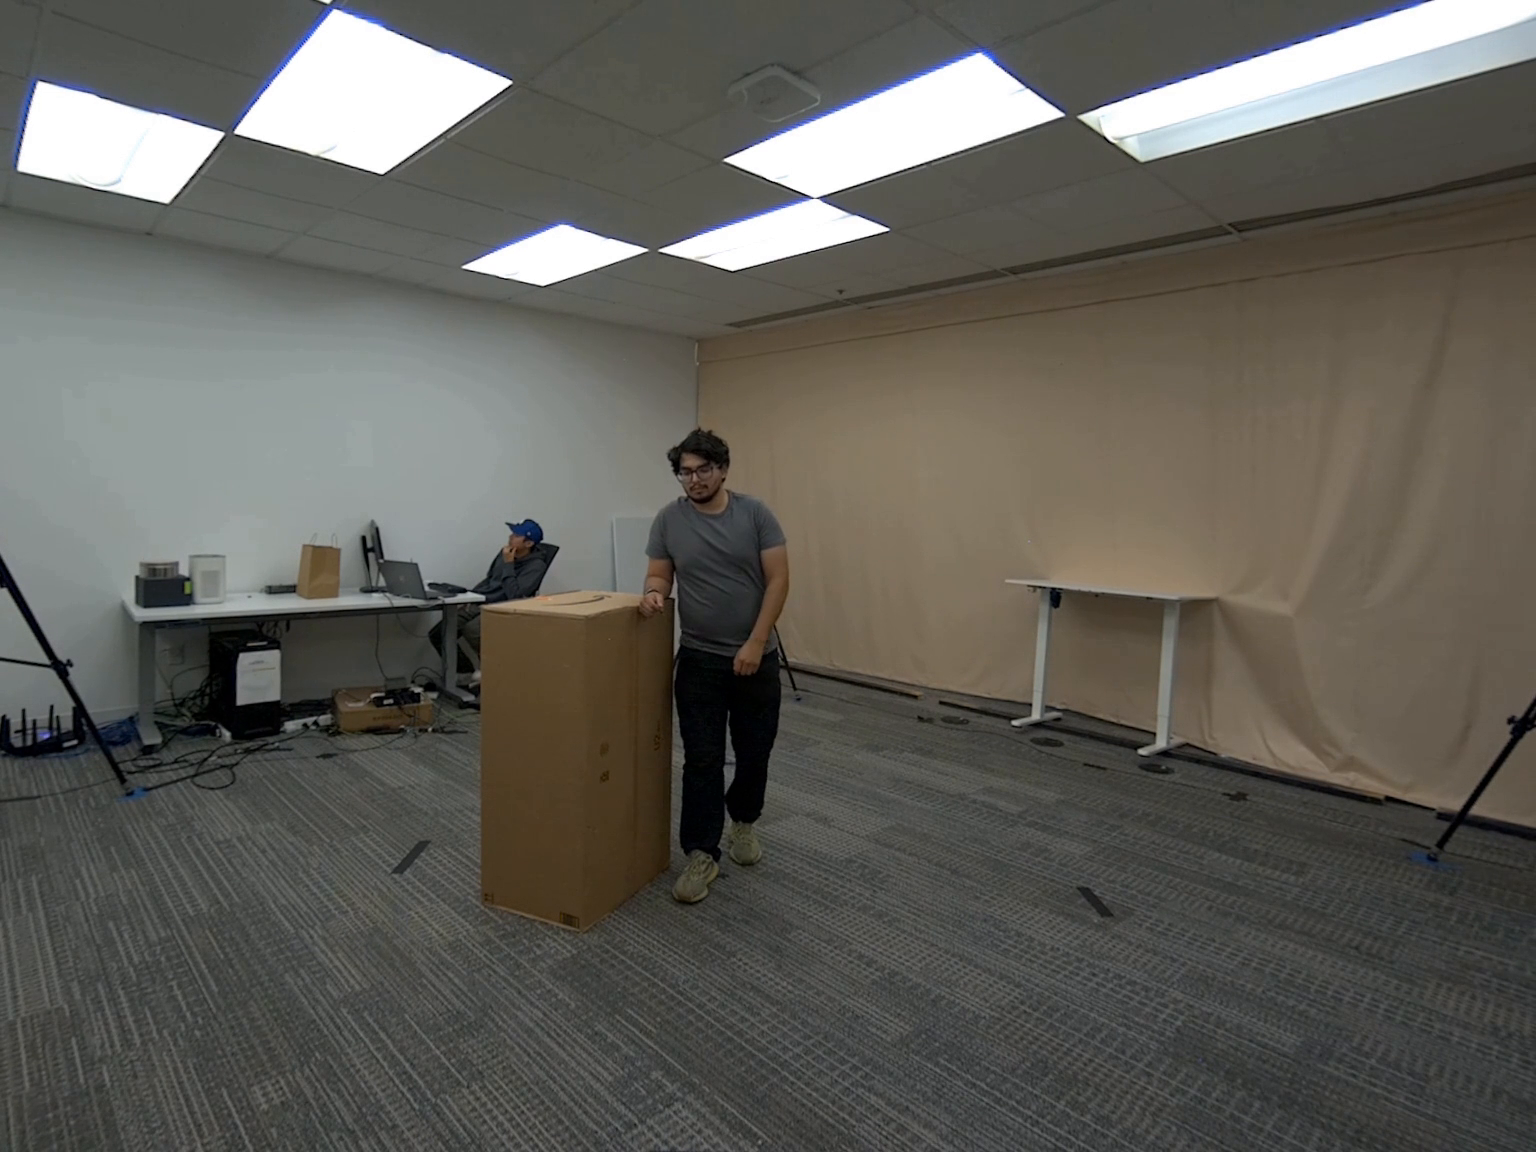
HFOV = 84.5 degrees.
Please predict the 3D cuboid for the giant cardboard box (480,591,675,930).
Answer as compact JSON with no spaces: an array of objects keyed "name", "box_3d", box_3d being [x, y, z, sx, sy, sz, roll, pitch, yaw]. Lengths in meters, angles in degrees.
[{"name":"giant cardboard box","box_3d":[-0.667,0.600,2.983,0.435,1.023,0.567,3,4,26]}]
